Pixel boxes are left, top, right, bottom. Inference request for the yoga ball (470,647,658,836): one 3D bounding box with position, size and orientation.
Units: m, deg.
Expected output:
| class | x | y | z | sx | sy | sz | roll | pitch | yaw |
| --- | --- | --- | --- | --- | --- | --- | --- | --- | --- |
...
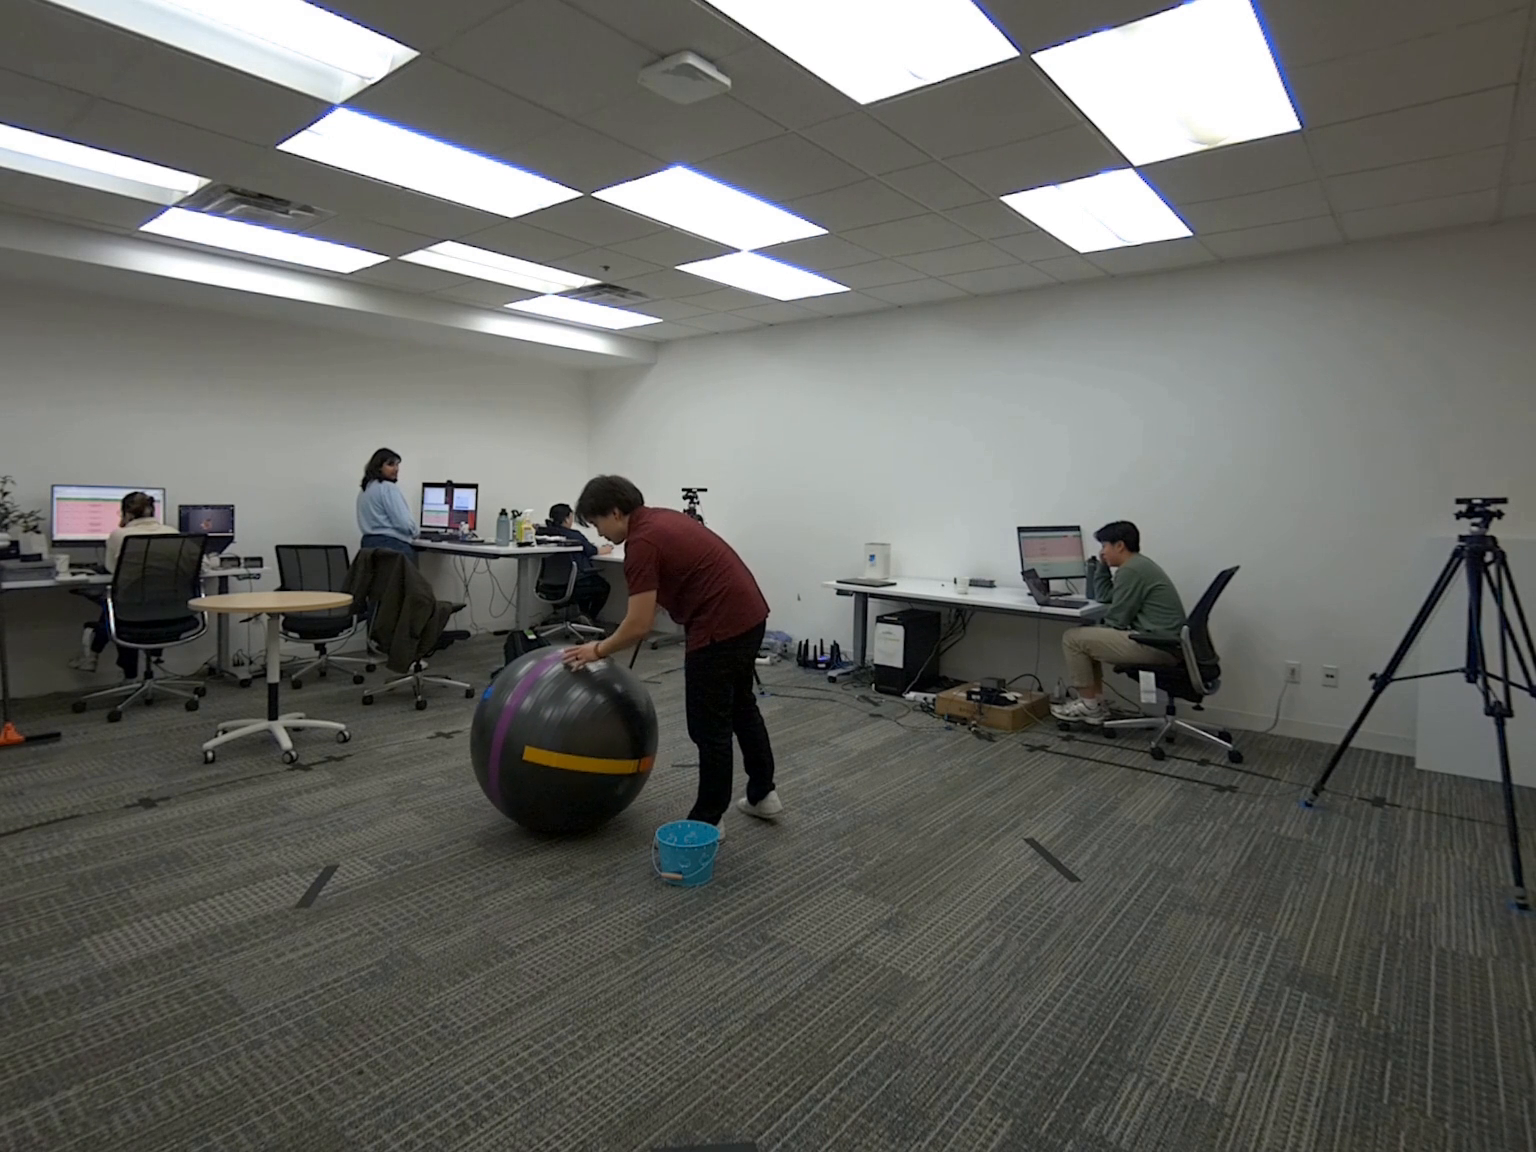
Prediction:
| class | x | y | z | sx | sy | sz | roll | pitch | yaw |
| --- | --- | --- | --- | --- | --- | --- | --- | --- | --- |
| yoga ball | -0.839 | 0.663 | 3.495 | 0.757 | 0.755 | 0.762 | 1 | 4 | -2 |
